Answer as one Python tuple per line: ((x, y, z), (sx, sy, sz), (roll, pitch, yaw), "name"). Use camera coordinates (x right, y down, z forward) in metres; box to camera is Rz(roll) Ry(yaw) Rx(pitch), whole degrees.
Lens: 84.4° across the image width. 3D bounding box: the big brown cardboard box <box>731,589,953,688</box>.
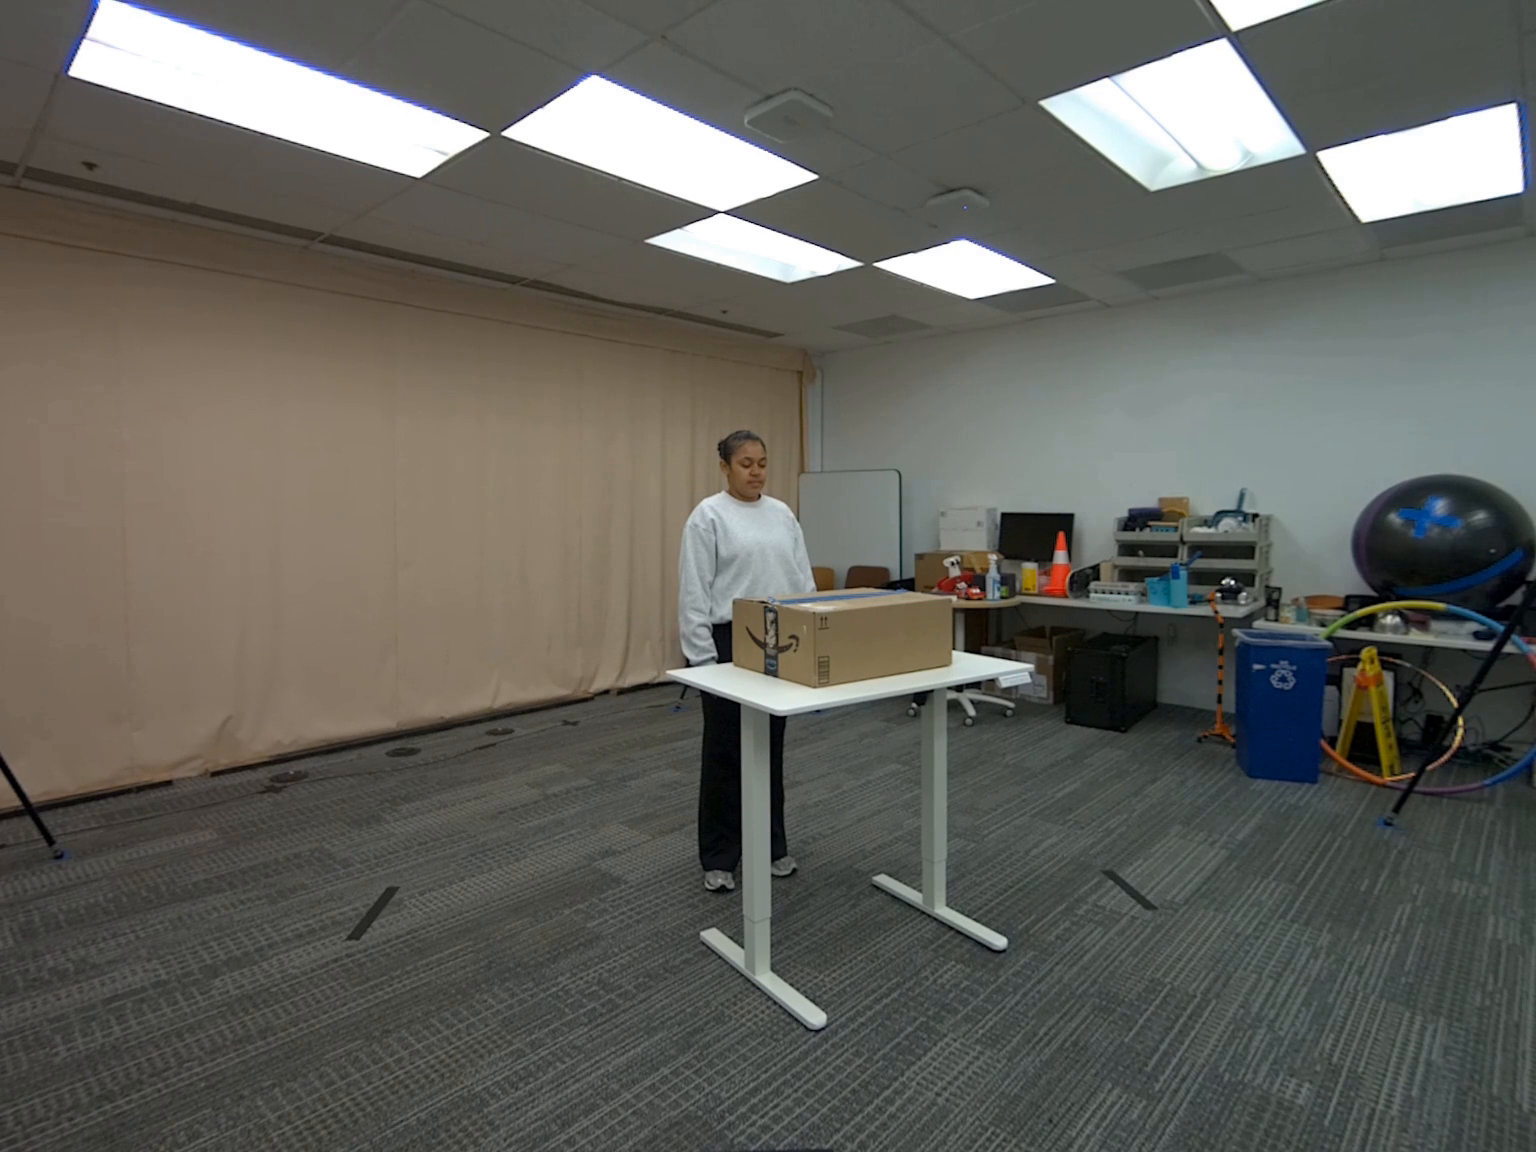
((0.237, 0.177, 2.661), (0.572, 0.233, 0.430), (-3, 4, -34), "big brown cardboard box")
